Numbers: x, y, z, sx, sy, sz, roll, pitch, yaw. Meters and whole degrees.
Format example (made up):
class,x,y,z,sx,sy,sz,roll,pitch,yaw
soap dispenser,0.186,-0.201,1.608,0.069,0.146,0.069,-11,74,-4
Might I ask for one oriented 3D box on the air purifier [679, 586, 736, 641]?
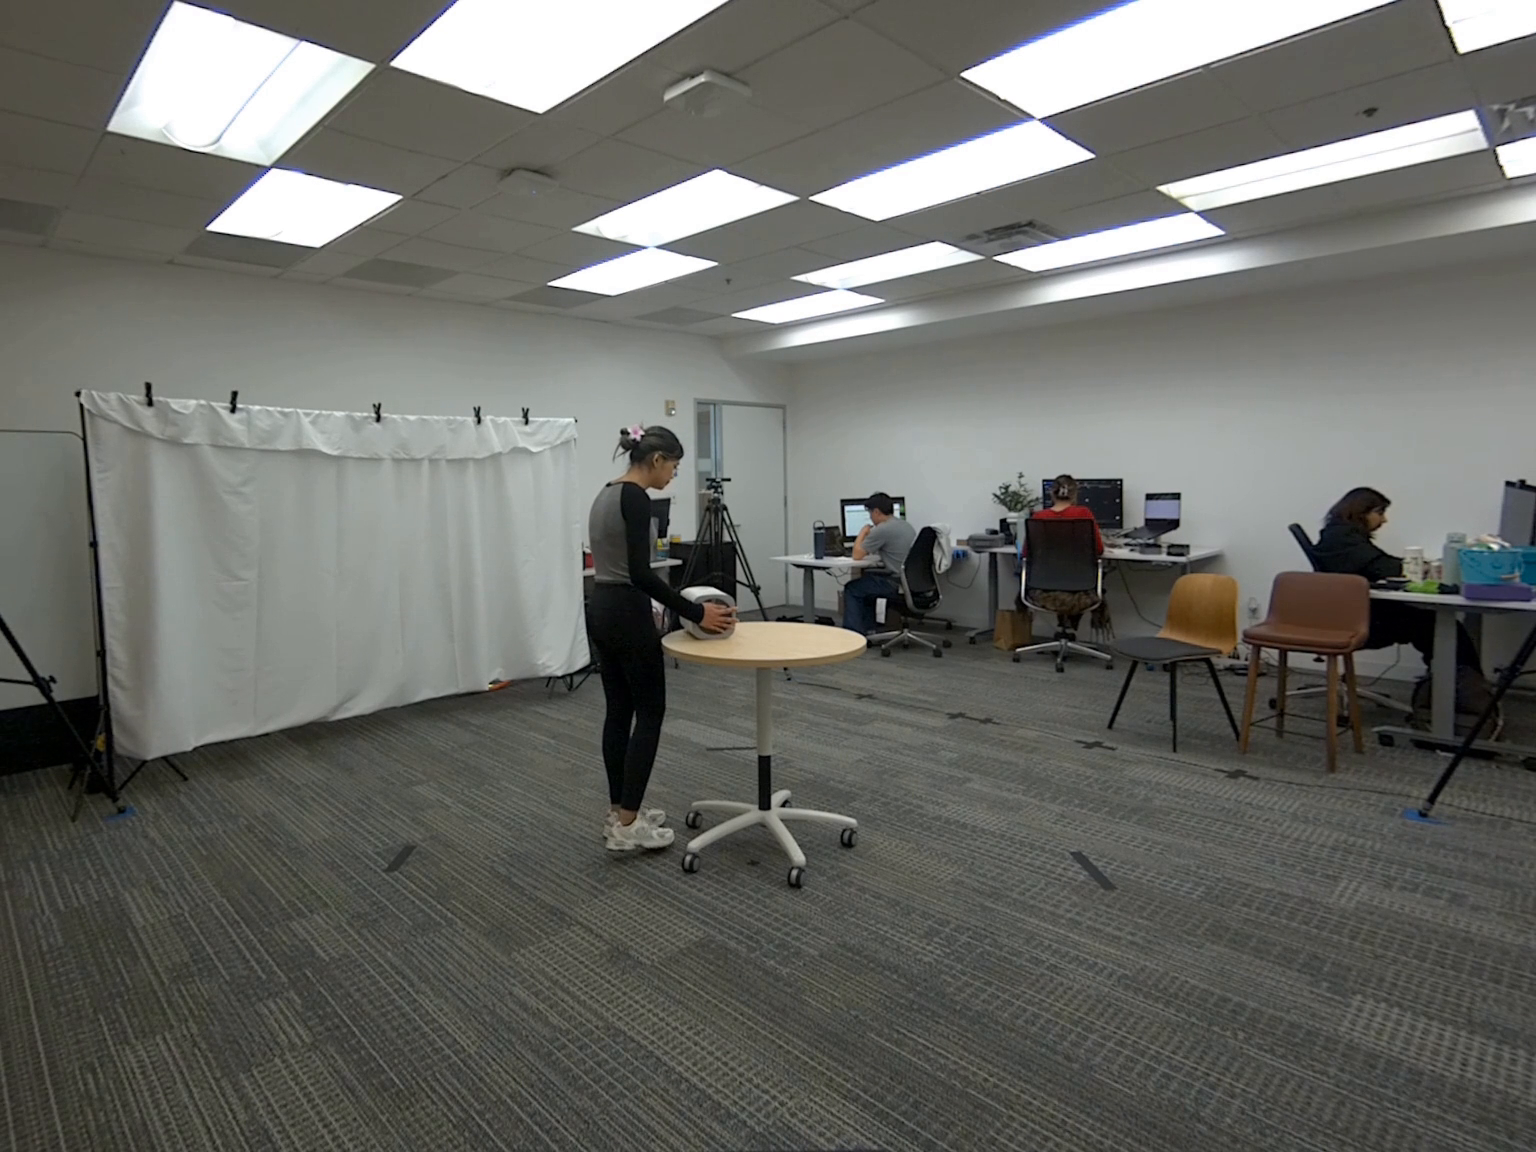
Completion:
class,x,y,z,sx,sy,sz,roll,pitch,yaw
air purifier,-0.238,0.138,3.318,0.168,0.171,0.270,-2,5,-17
